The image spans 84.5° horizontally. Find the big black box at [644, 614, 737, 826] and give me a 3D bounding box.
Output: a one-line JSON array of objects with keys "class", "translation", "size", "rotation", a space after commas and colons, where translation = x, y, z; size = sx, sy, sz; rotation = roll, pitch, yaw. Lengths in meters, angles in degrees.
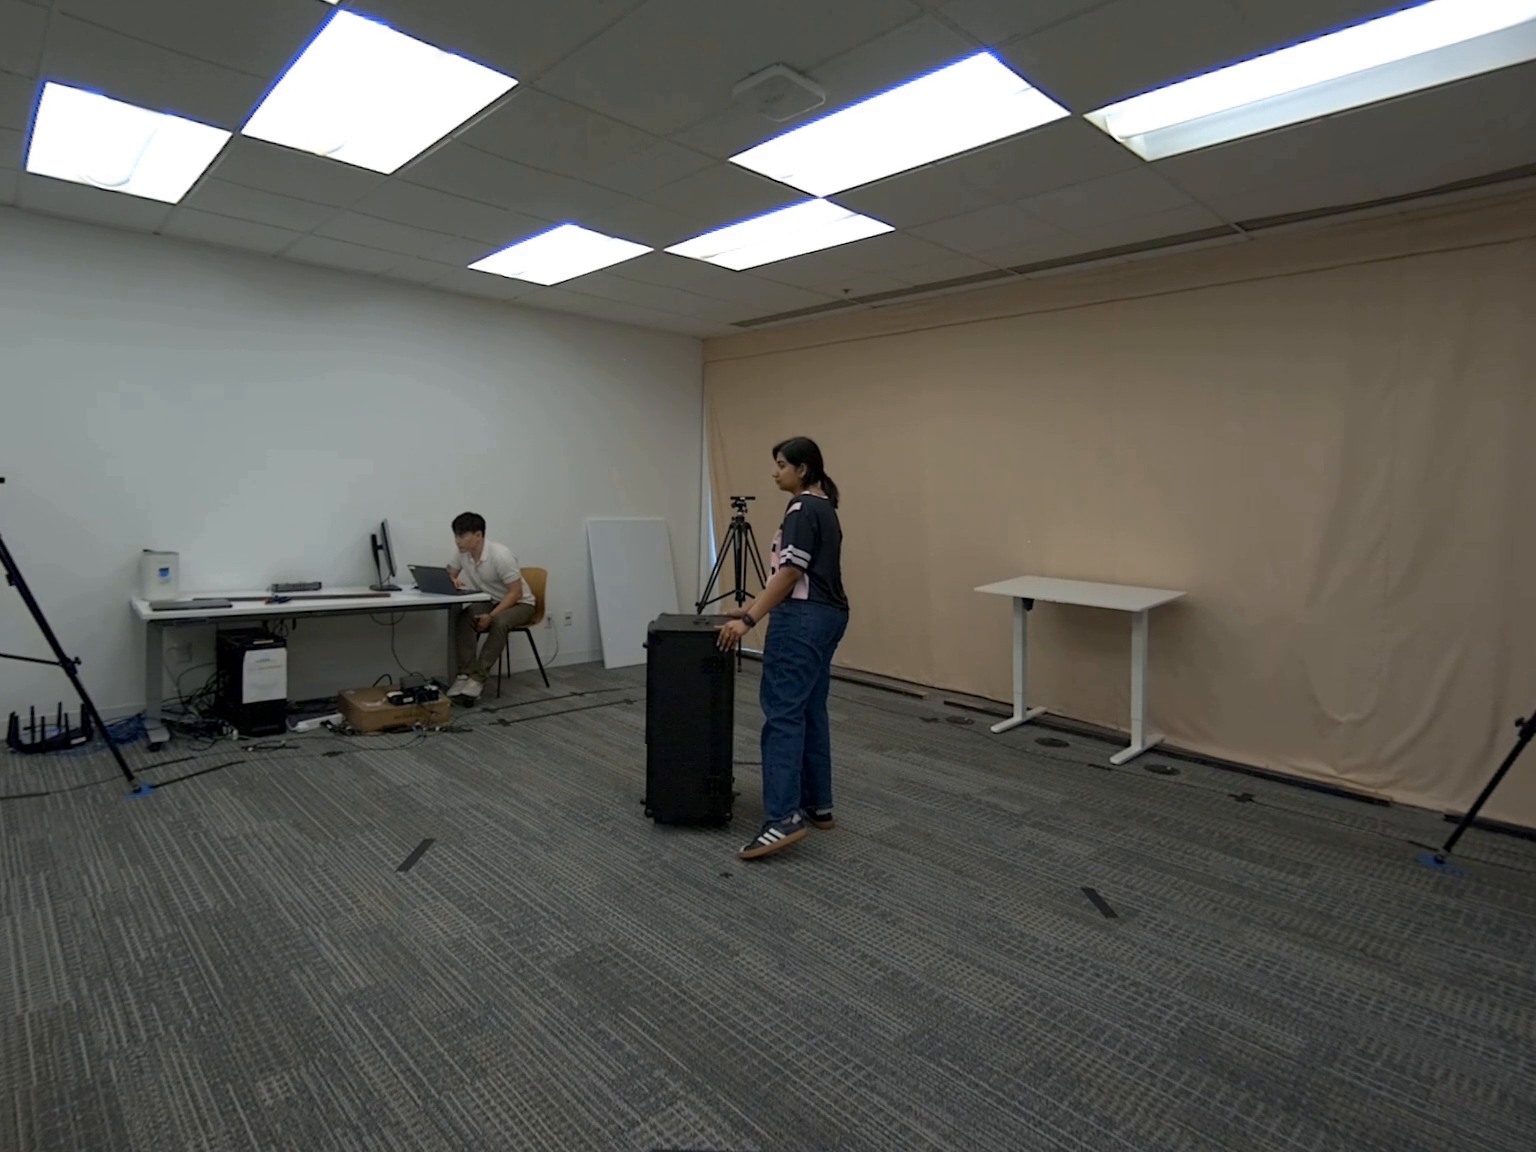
[{"class": "big black box", "translation": [-0.335, 0.623, 3.678], "size": [0.385, 0.866, 0.524], "rotation": [1, 3, -1]}]
